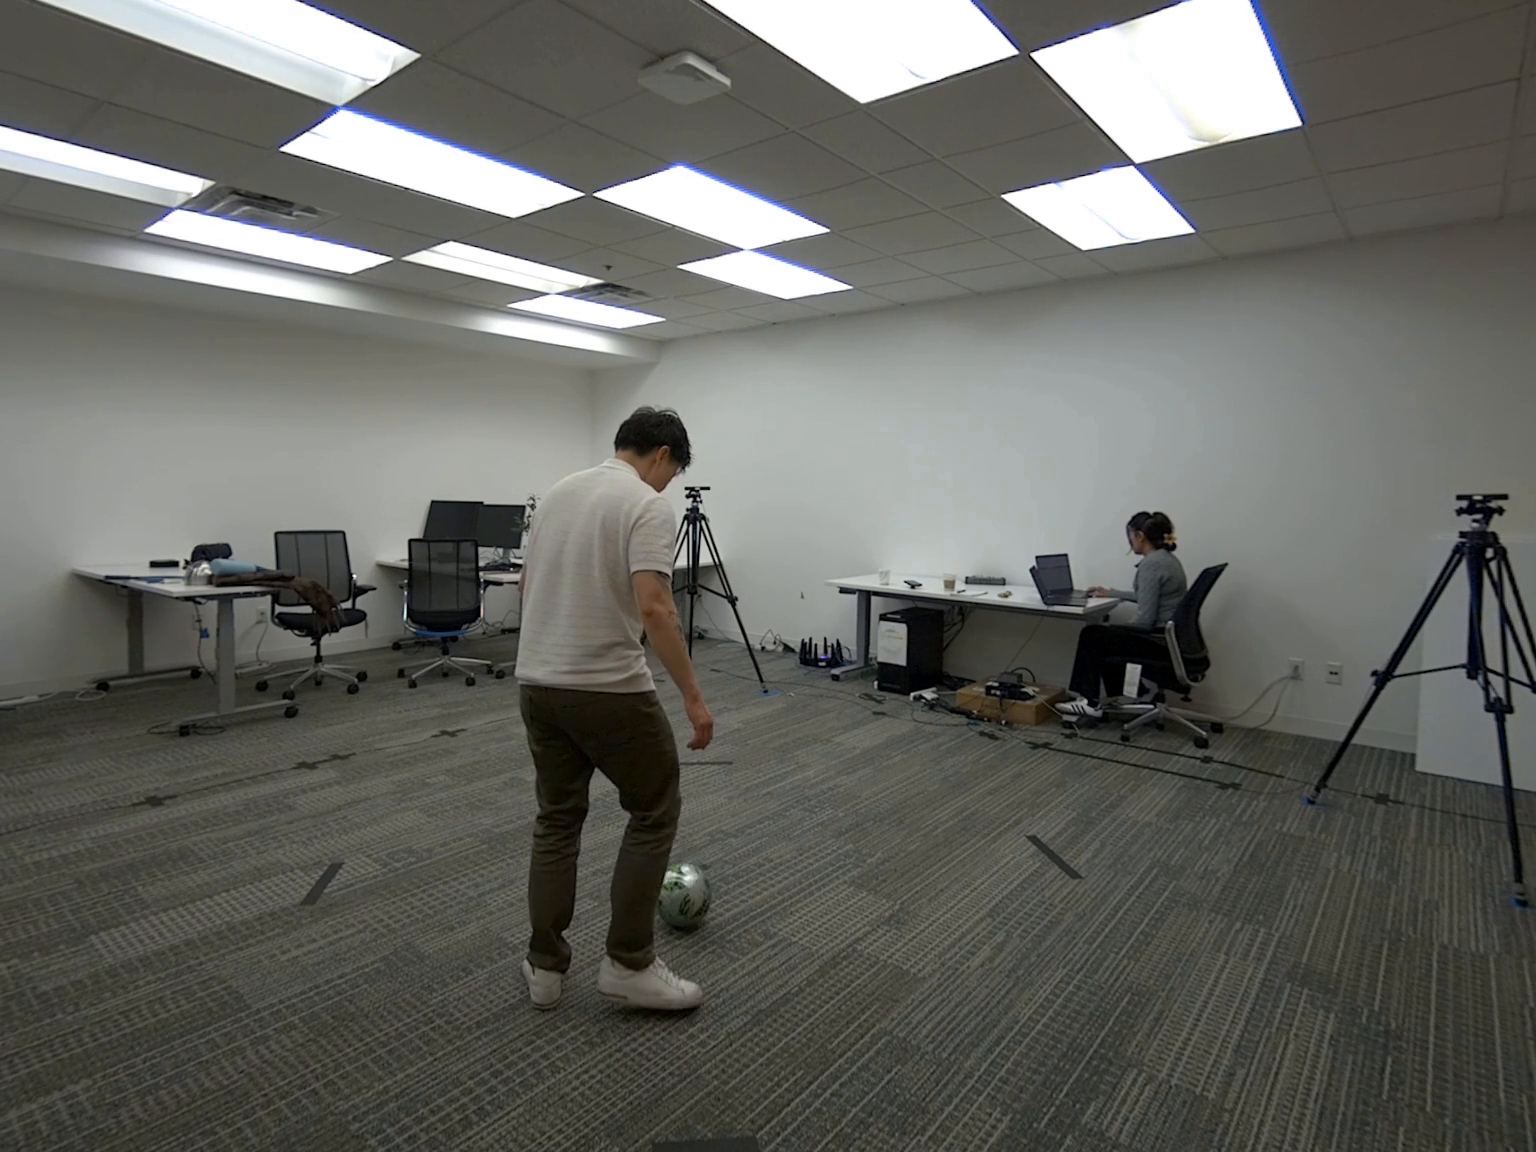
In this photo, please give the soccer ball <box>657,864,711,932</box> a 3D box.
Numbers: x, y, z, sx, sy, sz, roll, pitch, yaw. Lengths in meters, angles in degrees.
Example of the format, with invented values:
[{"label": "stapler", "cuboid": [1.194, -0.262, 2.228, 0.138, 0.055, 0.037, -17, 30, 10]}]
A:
[{"label": "soccer ball", "cuboid": [-0.275, 1.010, 2.697, 0.187, 0.187, 0.188, 0, 4, -2]}]
